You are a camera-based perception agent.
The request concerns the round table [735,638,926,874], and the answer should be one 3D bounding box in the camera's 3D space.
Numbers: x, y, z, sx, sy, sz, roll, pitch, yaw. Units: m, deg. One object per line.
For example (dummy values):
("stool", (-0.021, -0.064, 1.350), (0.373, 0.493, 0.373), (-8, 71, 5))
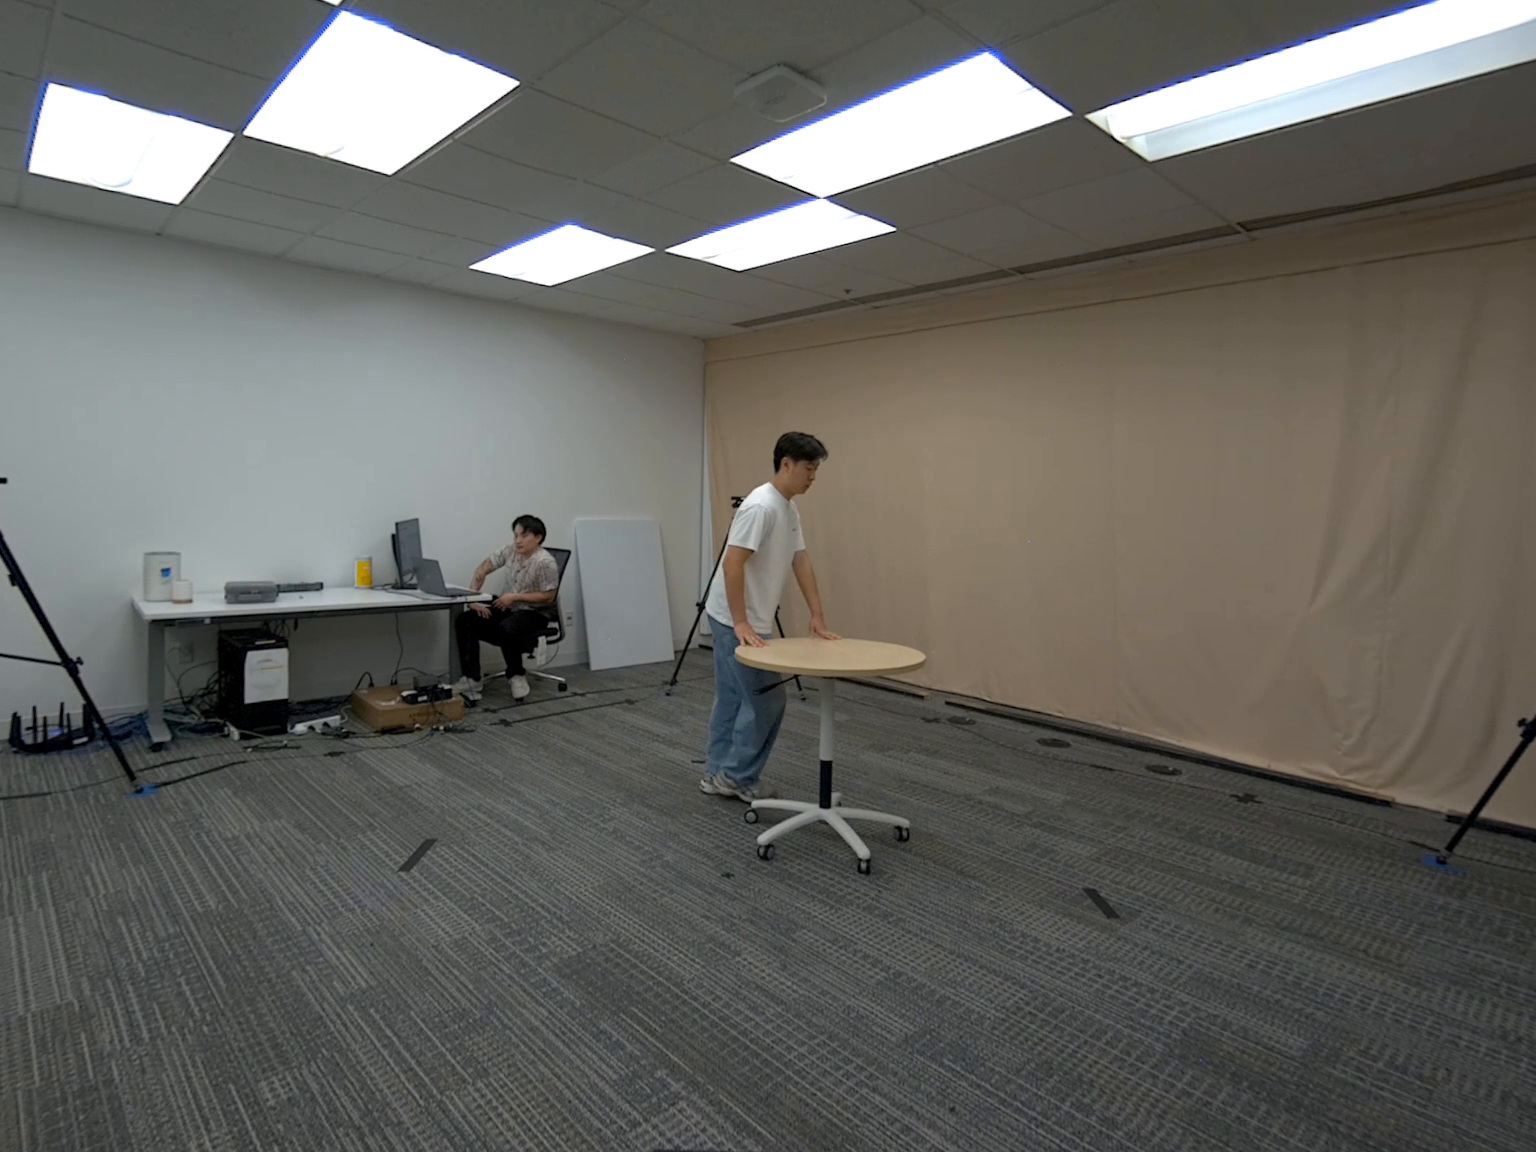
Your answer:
("round table", (0.224, 0.698, 3.427), (0.763, 0.792, 0.766), (1, 3, -1))
